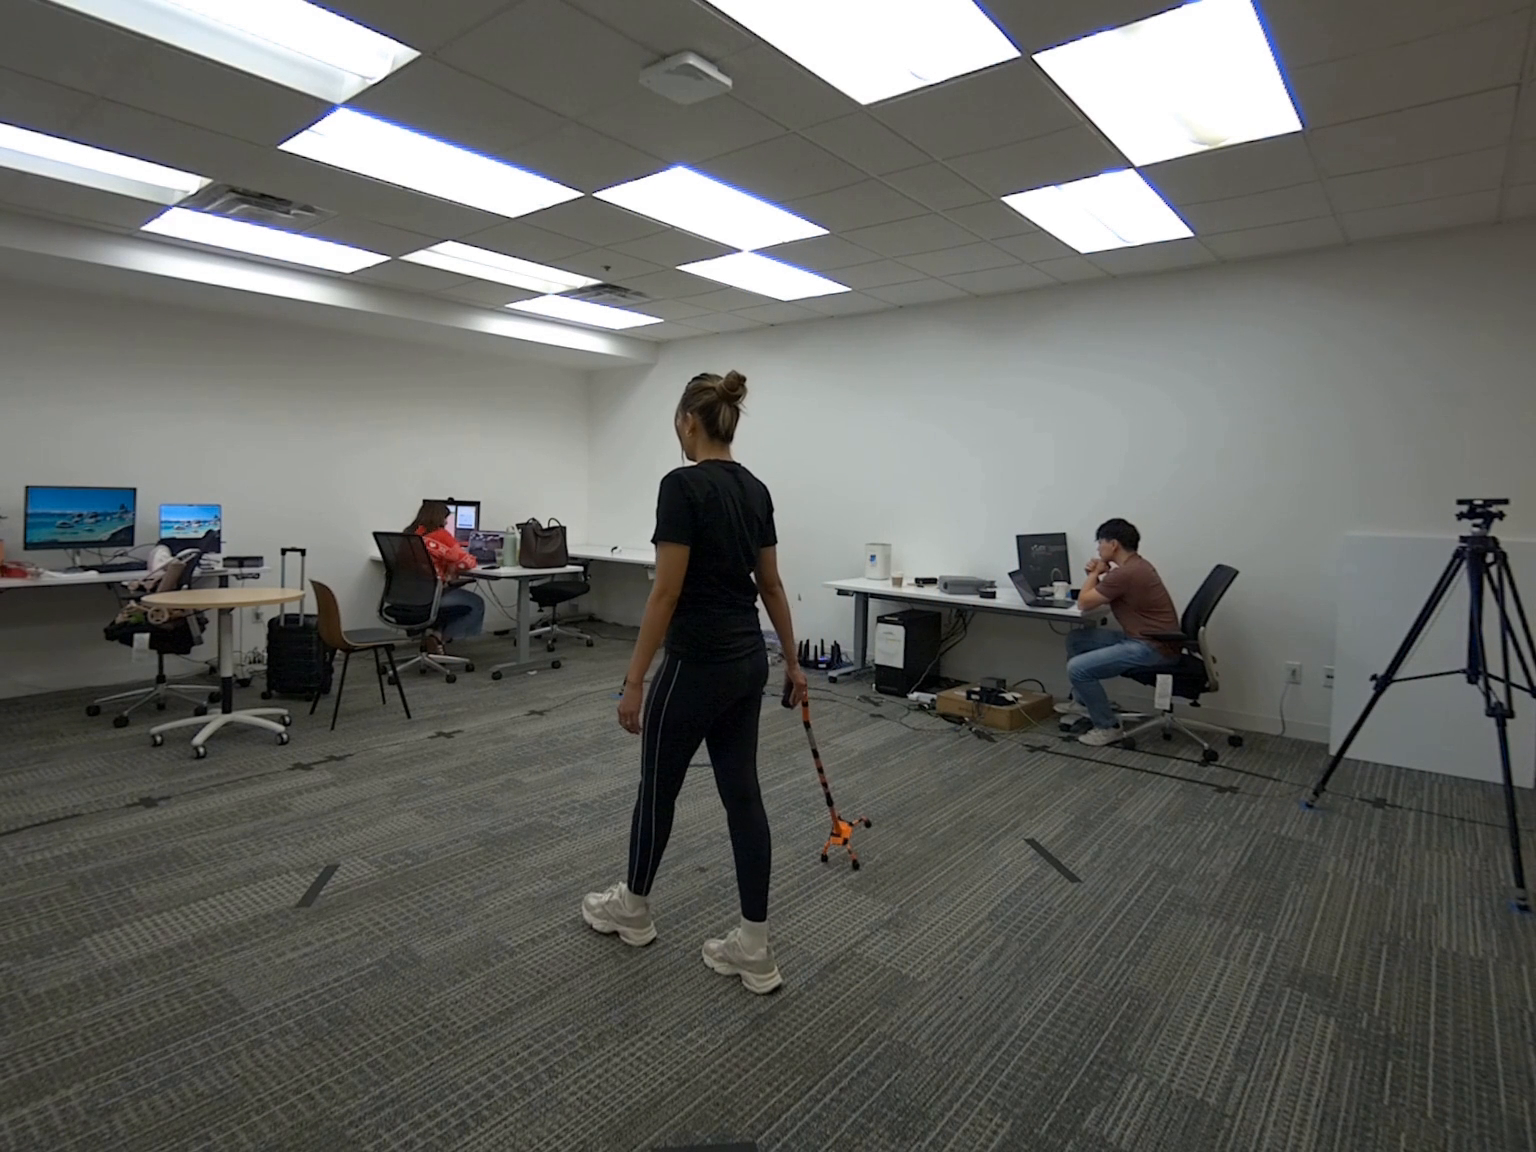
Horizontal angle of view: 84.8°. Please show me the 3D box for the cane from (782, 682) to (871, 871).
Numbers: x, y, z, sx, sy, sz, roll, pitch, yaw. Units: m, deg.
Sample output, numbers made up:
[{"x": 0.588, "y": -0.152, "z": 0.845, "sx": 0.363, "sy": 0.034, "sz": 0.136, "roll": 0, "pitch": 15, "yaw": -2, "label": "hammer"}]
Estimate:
[{"x": 0.186, "y": 0.668, "z": 2.980, "sx": 0.156, "sy": 0.877, "sz": 0.208, "roll": 4, "pitch": 40, "yaw": 26, "label": "cane"}]
